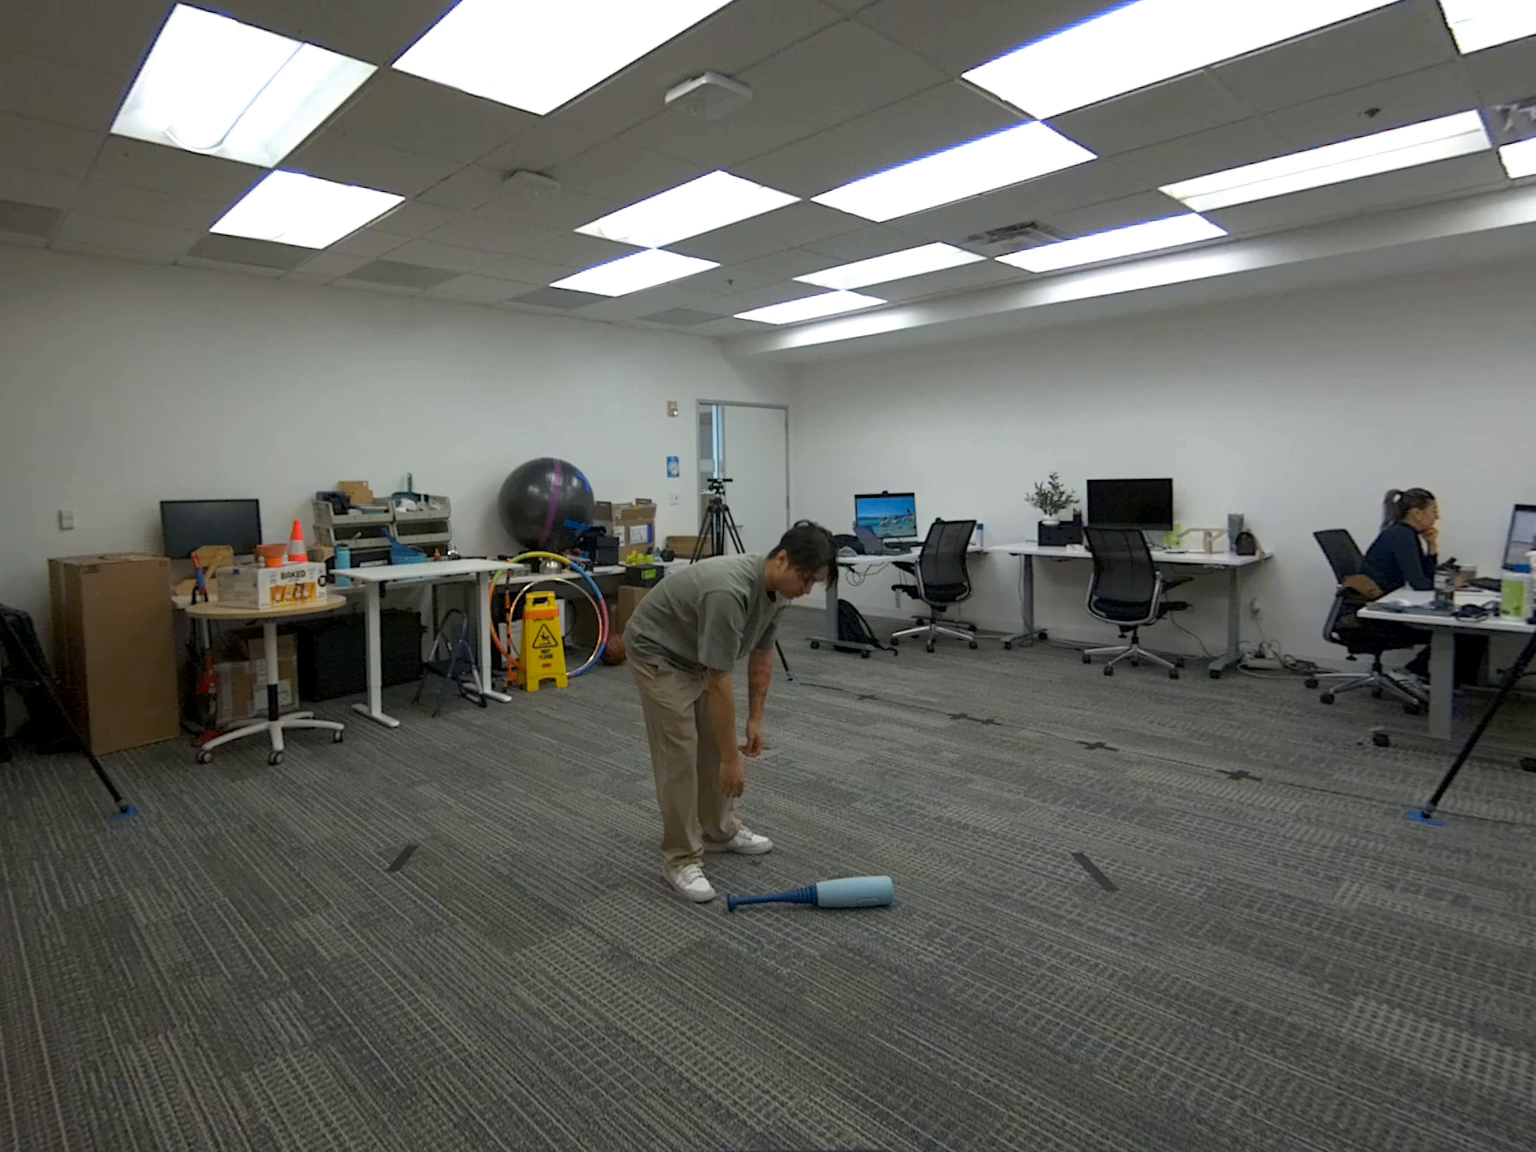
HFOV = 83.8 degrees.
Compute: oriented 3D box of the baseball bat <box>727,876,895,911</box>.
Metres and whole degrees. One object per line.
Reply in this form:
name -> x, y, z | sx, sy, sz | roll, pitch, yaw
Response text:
baseball bat -> 0.140, 1.041, 2.781 | 0.543, 0.089, 0.089 | -3, 5, -1
